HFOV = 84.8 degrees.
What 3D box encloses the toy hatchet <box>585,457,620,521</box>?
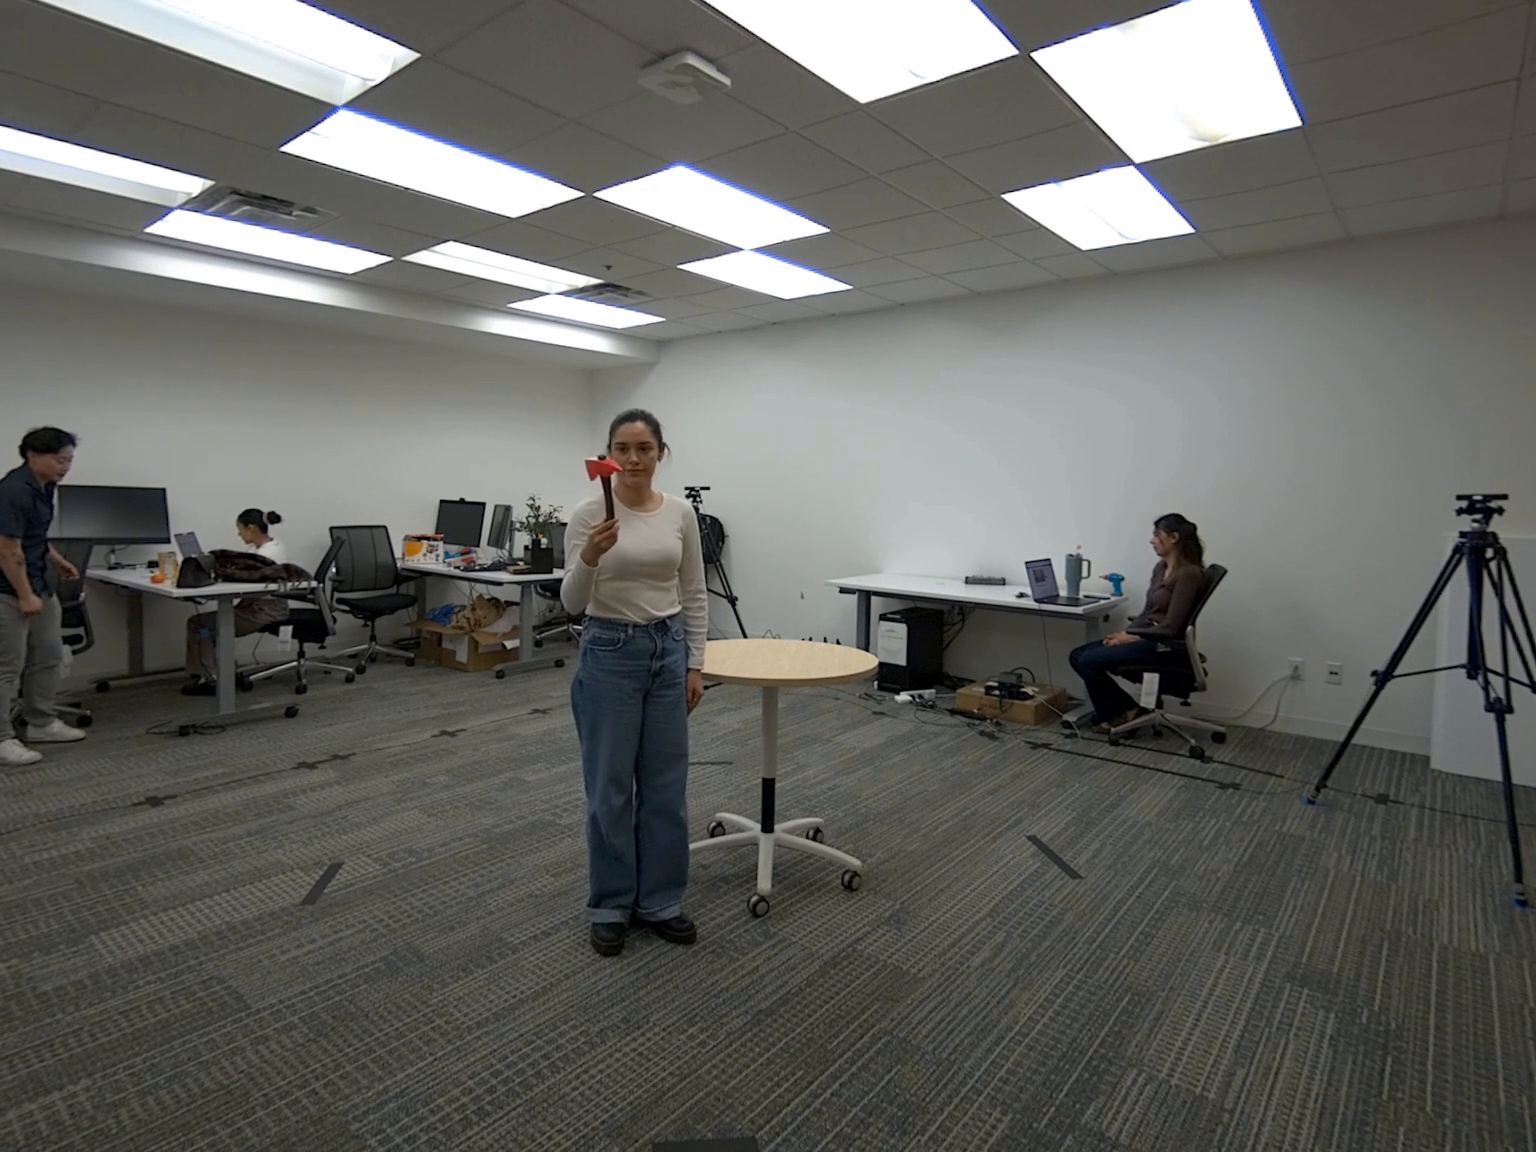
[{"bbox_3d":[-0.465,-0.213,2.273,0.135,0.265,0.029,36,39,22],"label":"toy hatchet"}]
